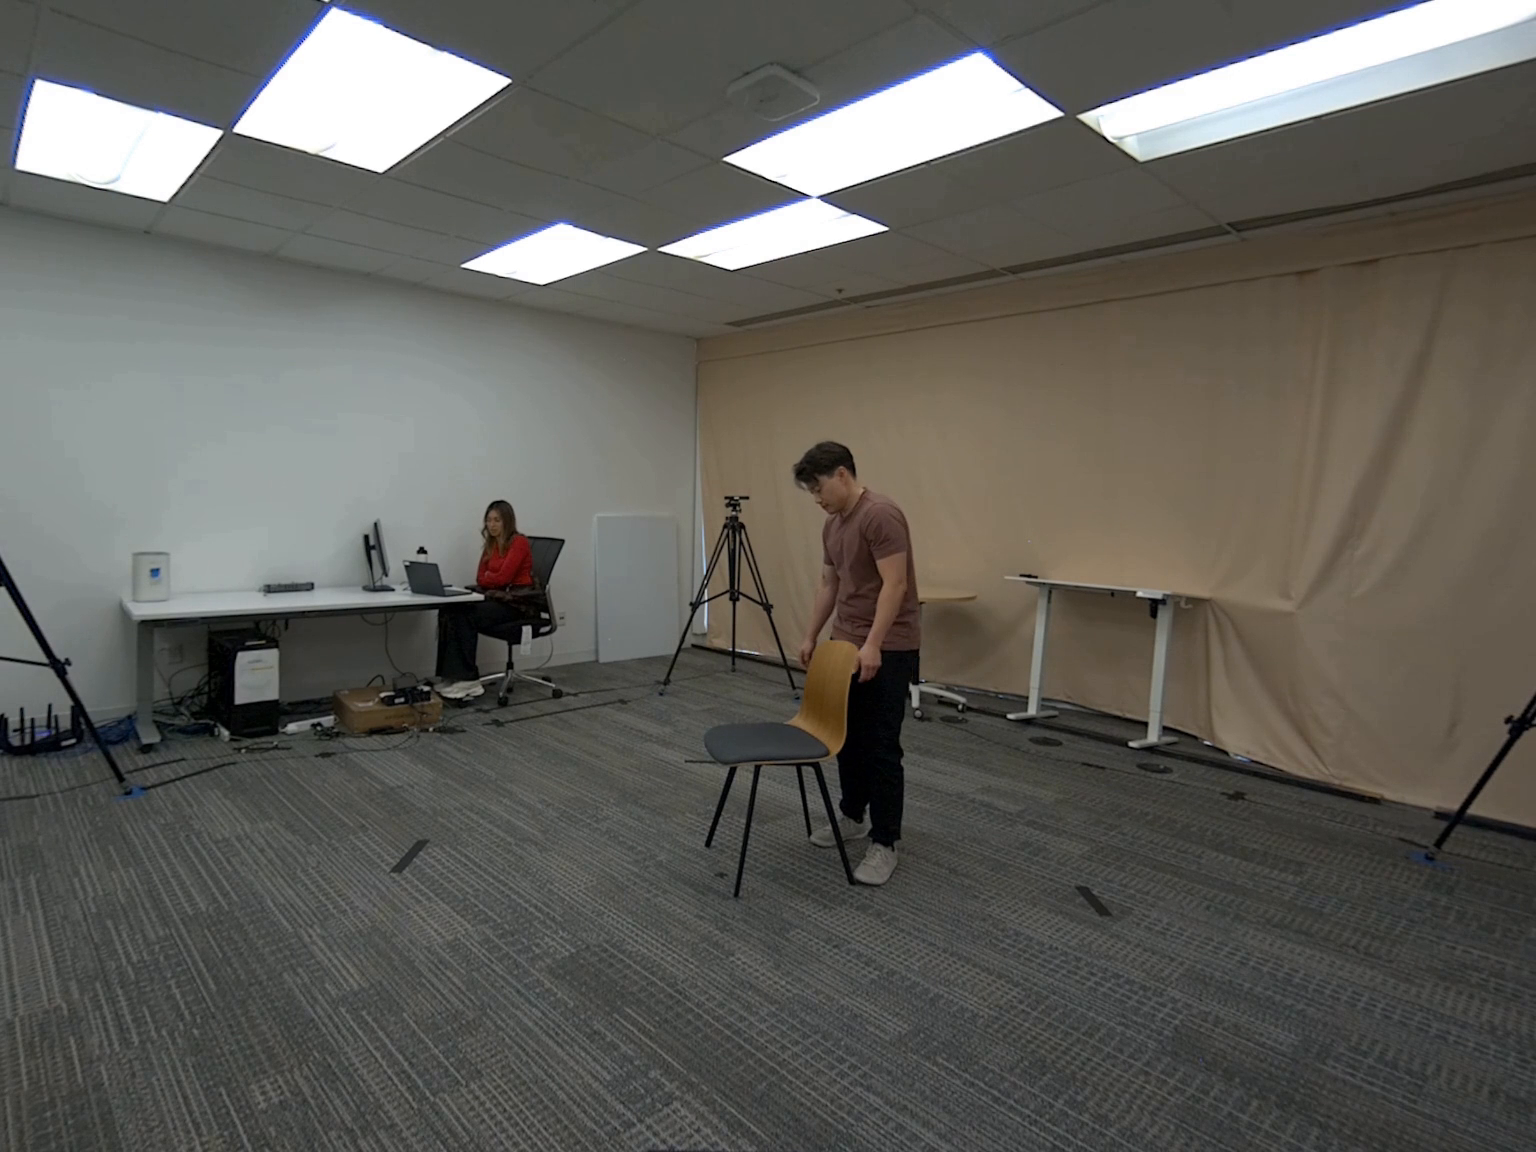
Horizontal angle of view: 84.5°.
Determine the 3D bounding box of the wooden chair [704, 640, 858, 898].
[{"bbox_3d":[0.030,0.676,3.161,0.516,0.876,0.485,5,3,-17],"label":"wooden chair"}]
